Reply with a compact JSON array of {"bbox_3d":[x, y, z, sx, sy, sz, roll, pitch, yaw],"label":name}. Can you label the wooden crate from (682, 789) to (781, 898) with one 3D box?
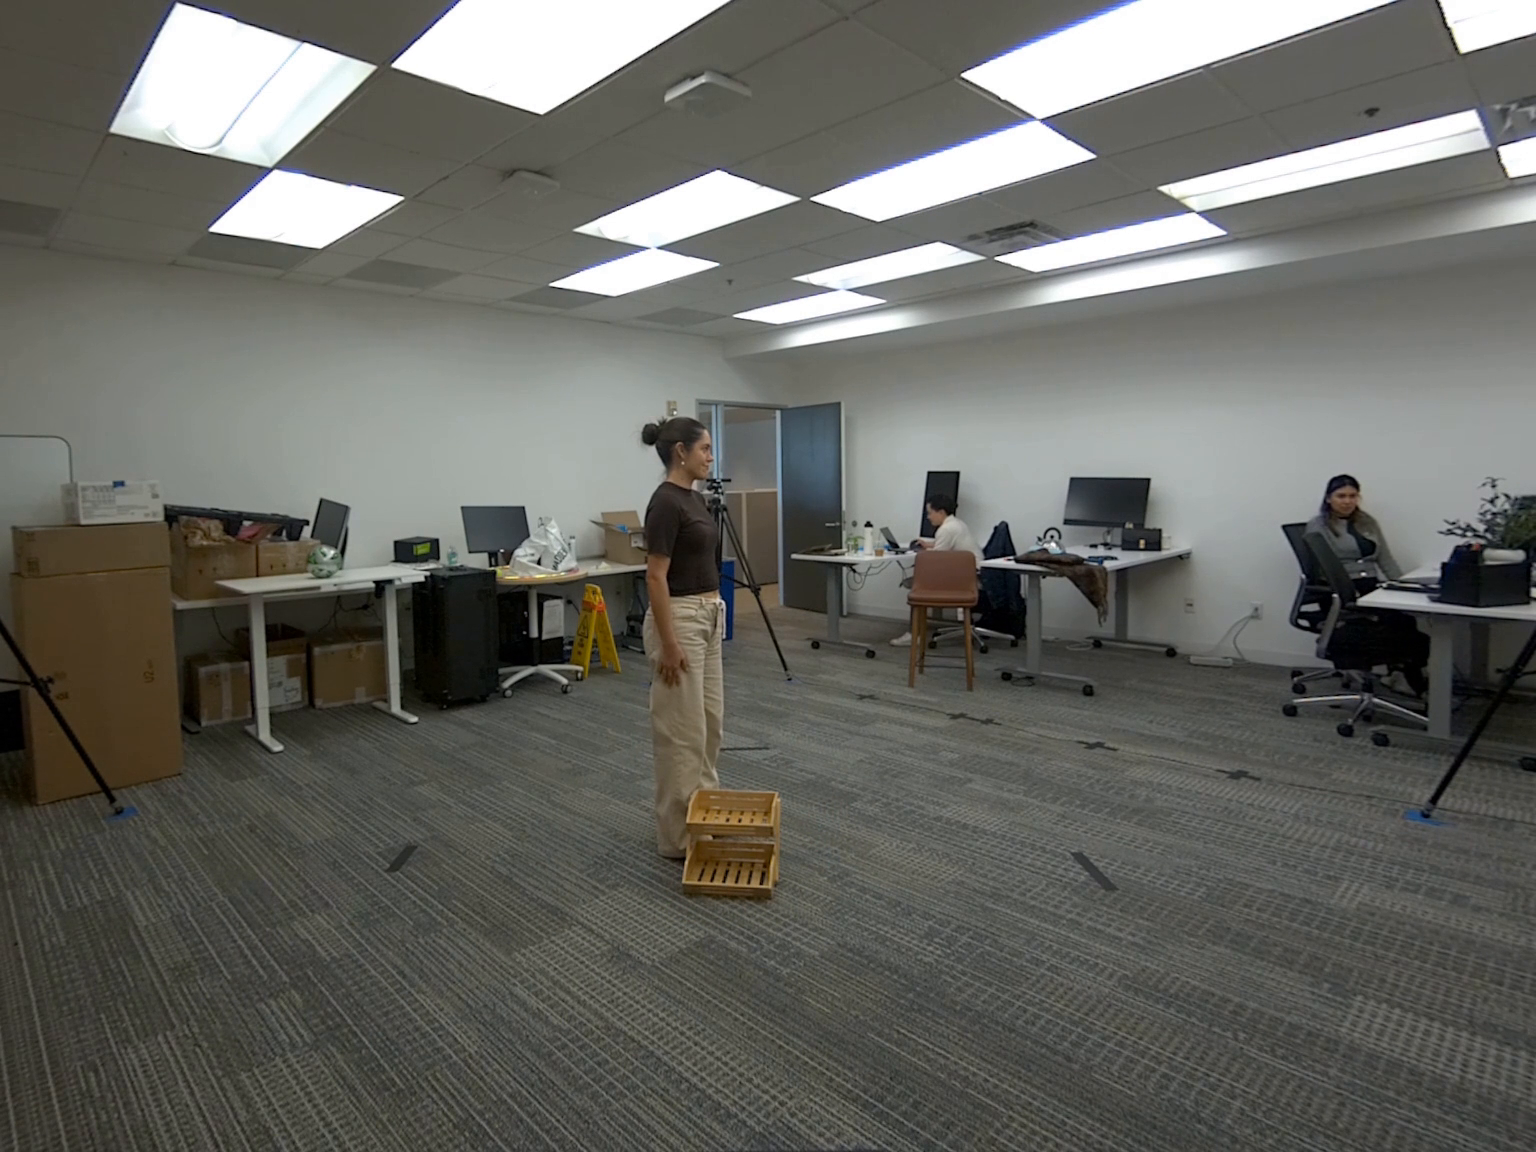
[{"bbox_3d":[-0.119,0.926,2.974,0.327,0.272,0.301,-1,4,7],"label":"wooden crate"}]
